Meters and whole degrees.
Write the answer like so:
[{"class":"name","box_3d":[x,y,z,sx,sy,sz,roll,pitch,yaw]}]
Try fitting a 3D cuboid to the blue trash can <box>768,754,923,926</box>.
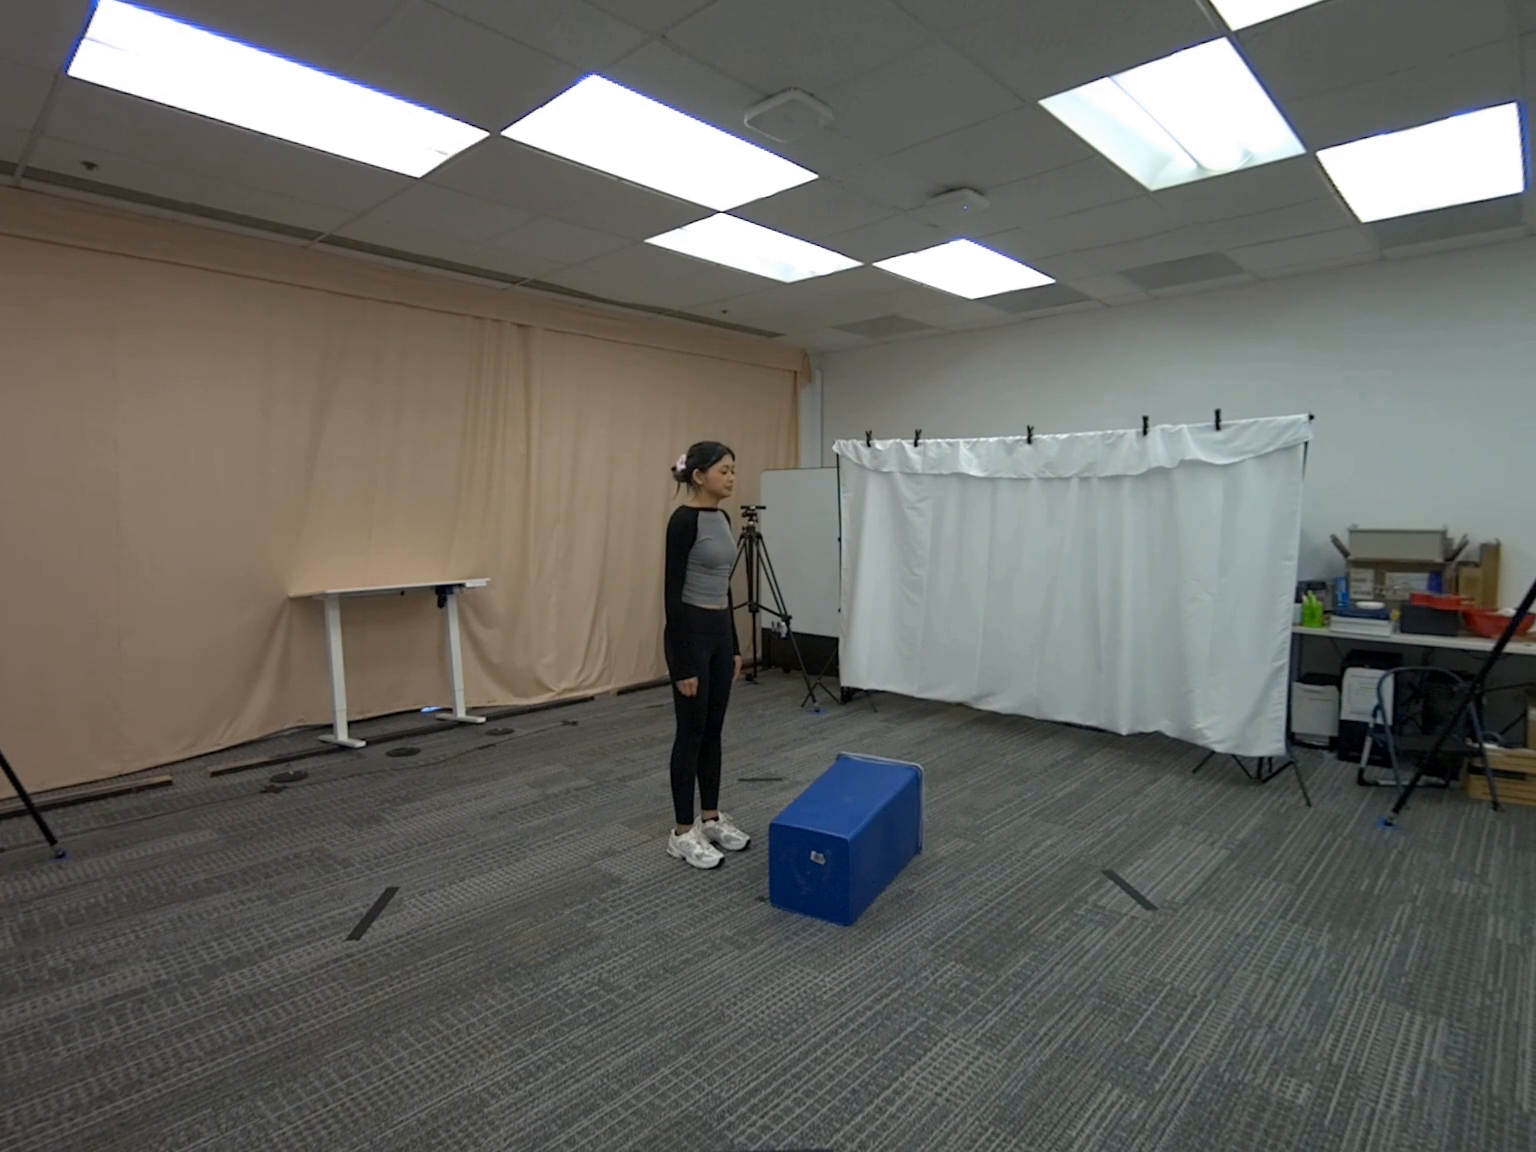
[{"class":"blue trash can","box_3d":[0.297,0.958,3.143,0.385,0.377,0.696,3,7,29]}]
